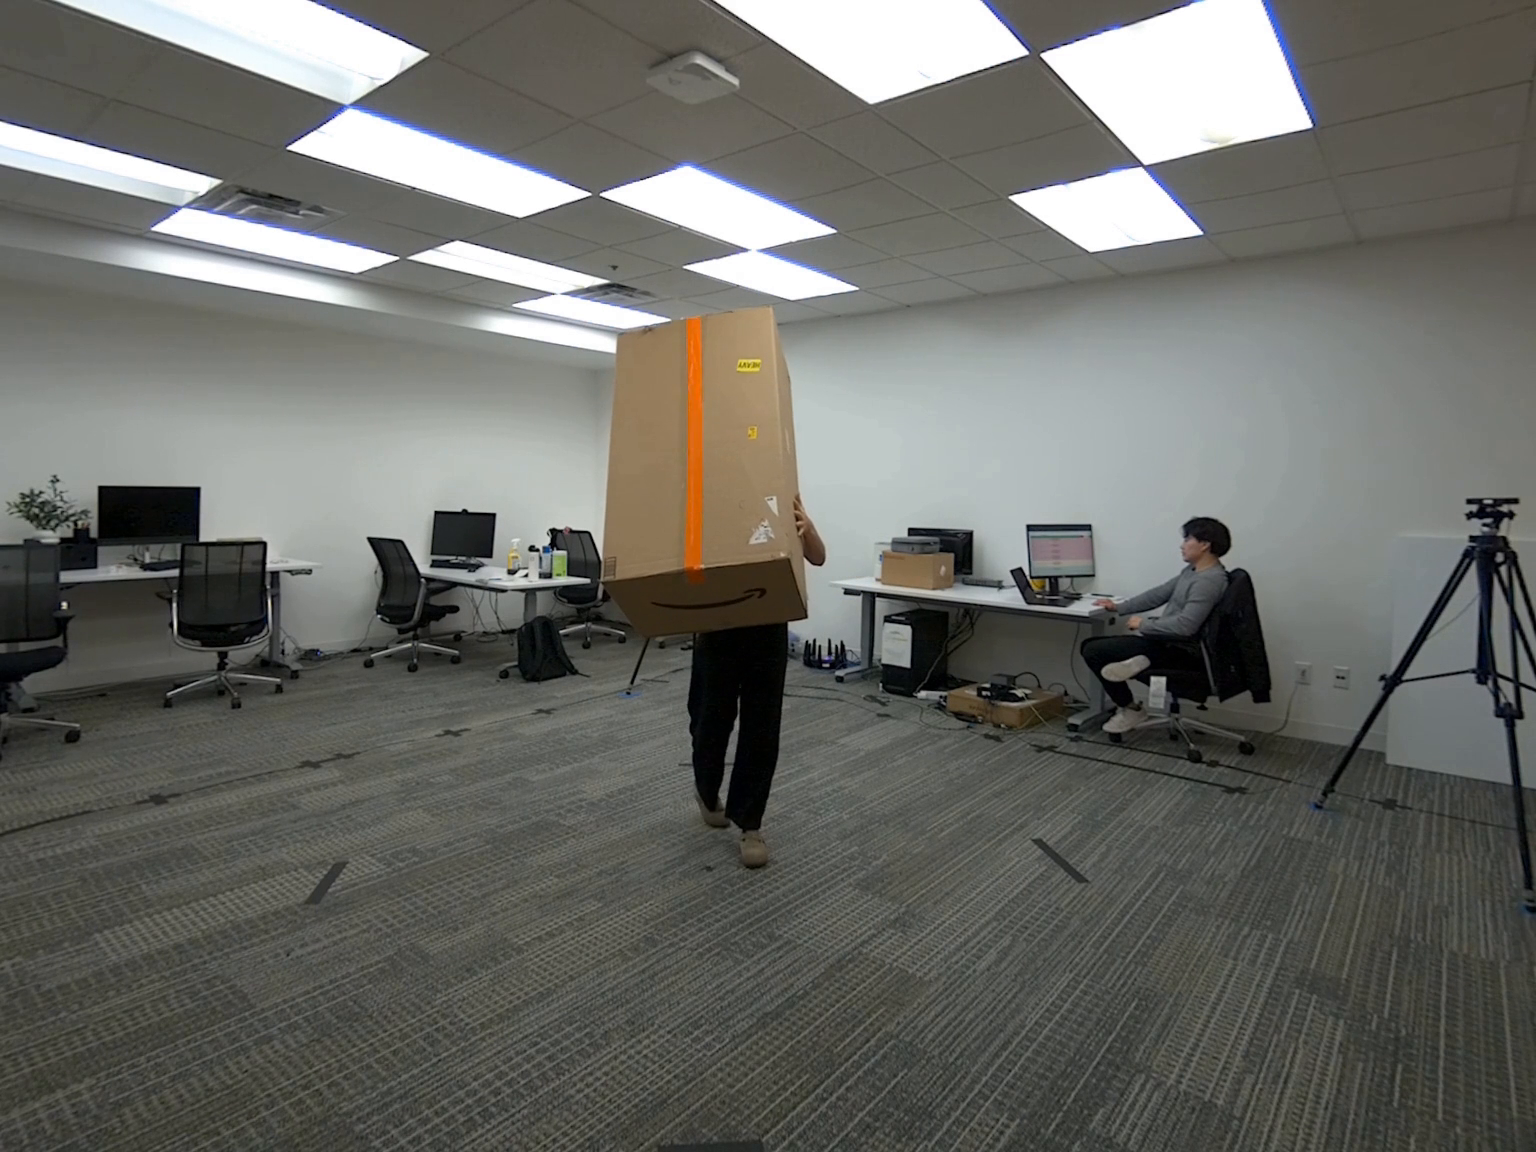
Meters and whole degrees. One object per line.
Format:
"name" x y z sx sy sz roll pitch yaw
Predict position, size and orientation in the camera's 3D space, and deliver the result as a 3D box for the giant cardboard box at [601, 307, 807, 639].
"giant cardboard box" -0.221 -0.364 2.936 0.583 1.053 0.411 -8 -31 9
